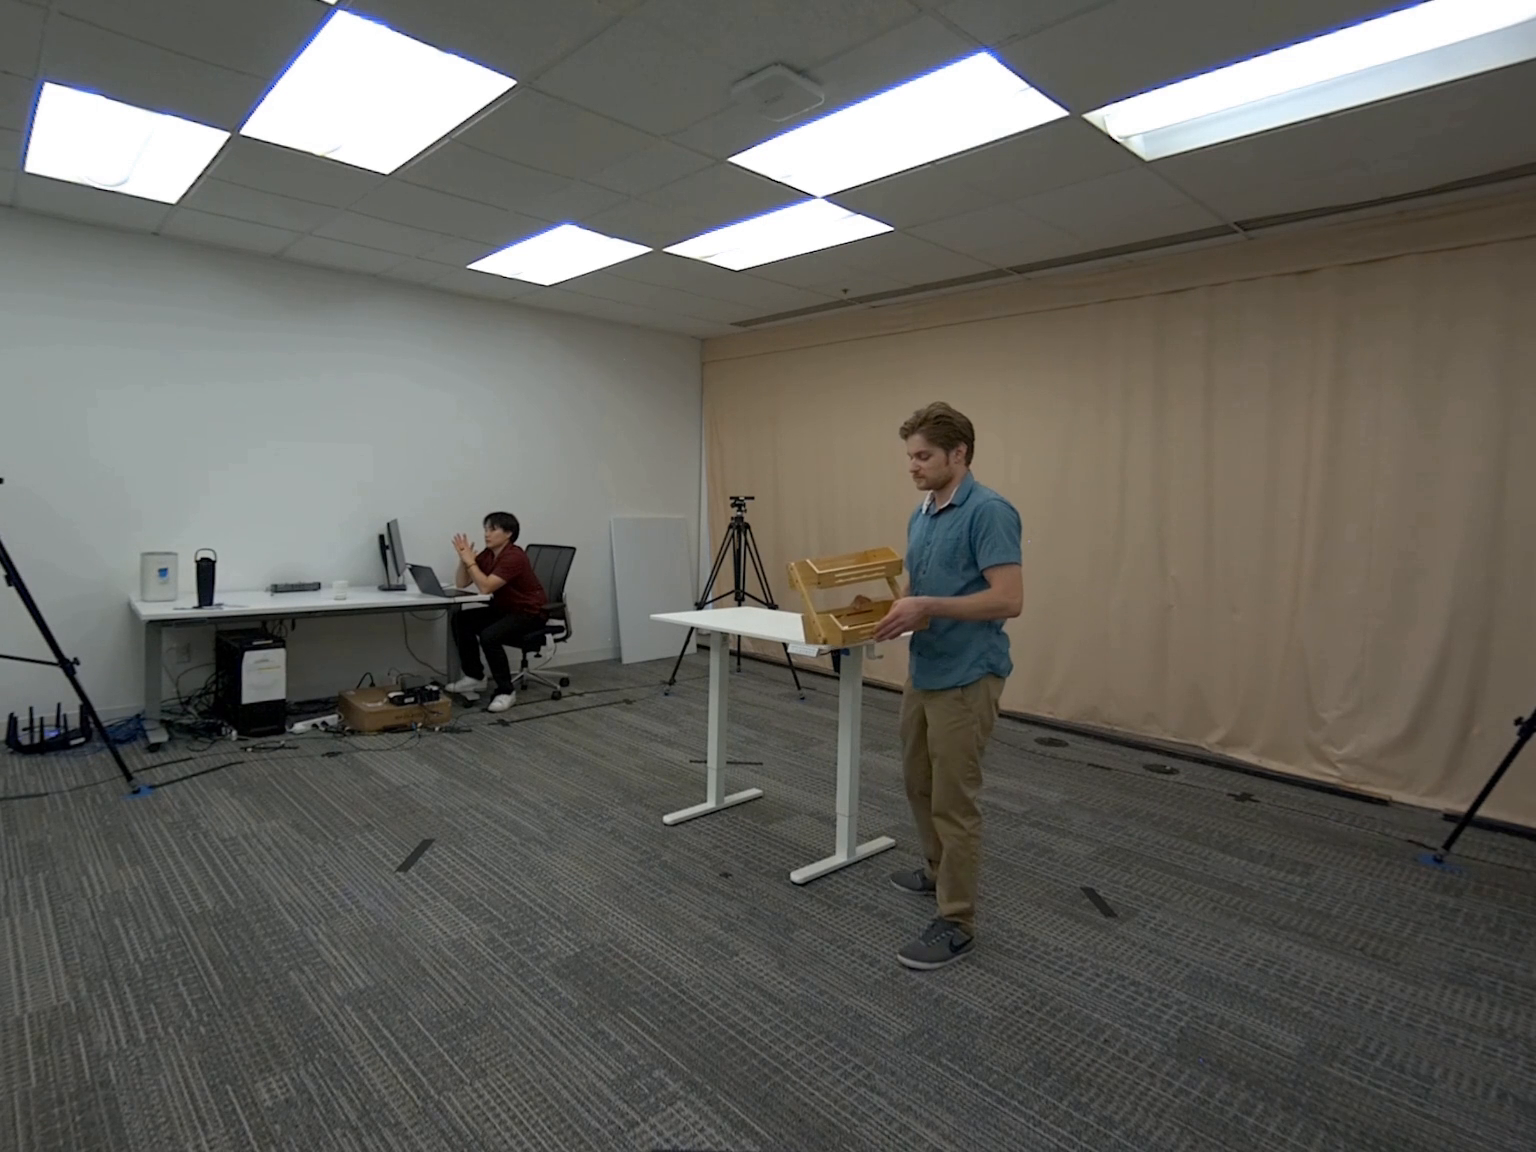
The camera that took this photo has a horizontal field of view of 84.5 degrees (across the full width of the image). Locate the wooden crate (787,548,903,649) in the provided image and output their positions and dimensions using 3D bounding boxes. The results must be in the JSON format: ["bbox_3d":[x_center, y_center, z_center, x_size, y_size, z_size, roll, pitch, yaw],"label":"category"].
[{"bbox_3d":[0.270,0.052,2.592,0.319,0.274,0.306,-9,-1,-24],"label":"wooden crate"}]
